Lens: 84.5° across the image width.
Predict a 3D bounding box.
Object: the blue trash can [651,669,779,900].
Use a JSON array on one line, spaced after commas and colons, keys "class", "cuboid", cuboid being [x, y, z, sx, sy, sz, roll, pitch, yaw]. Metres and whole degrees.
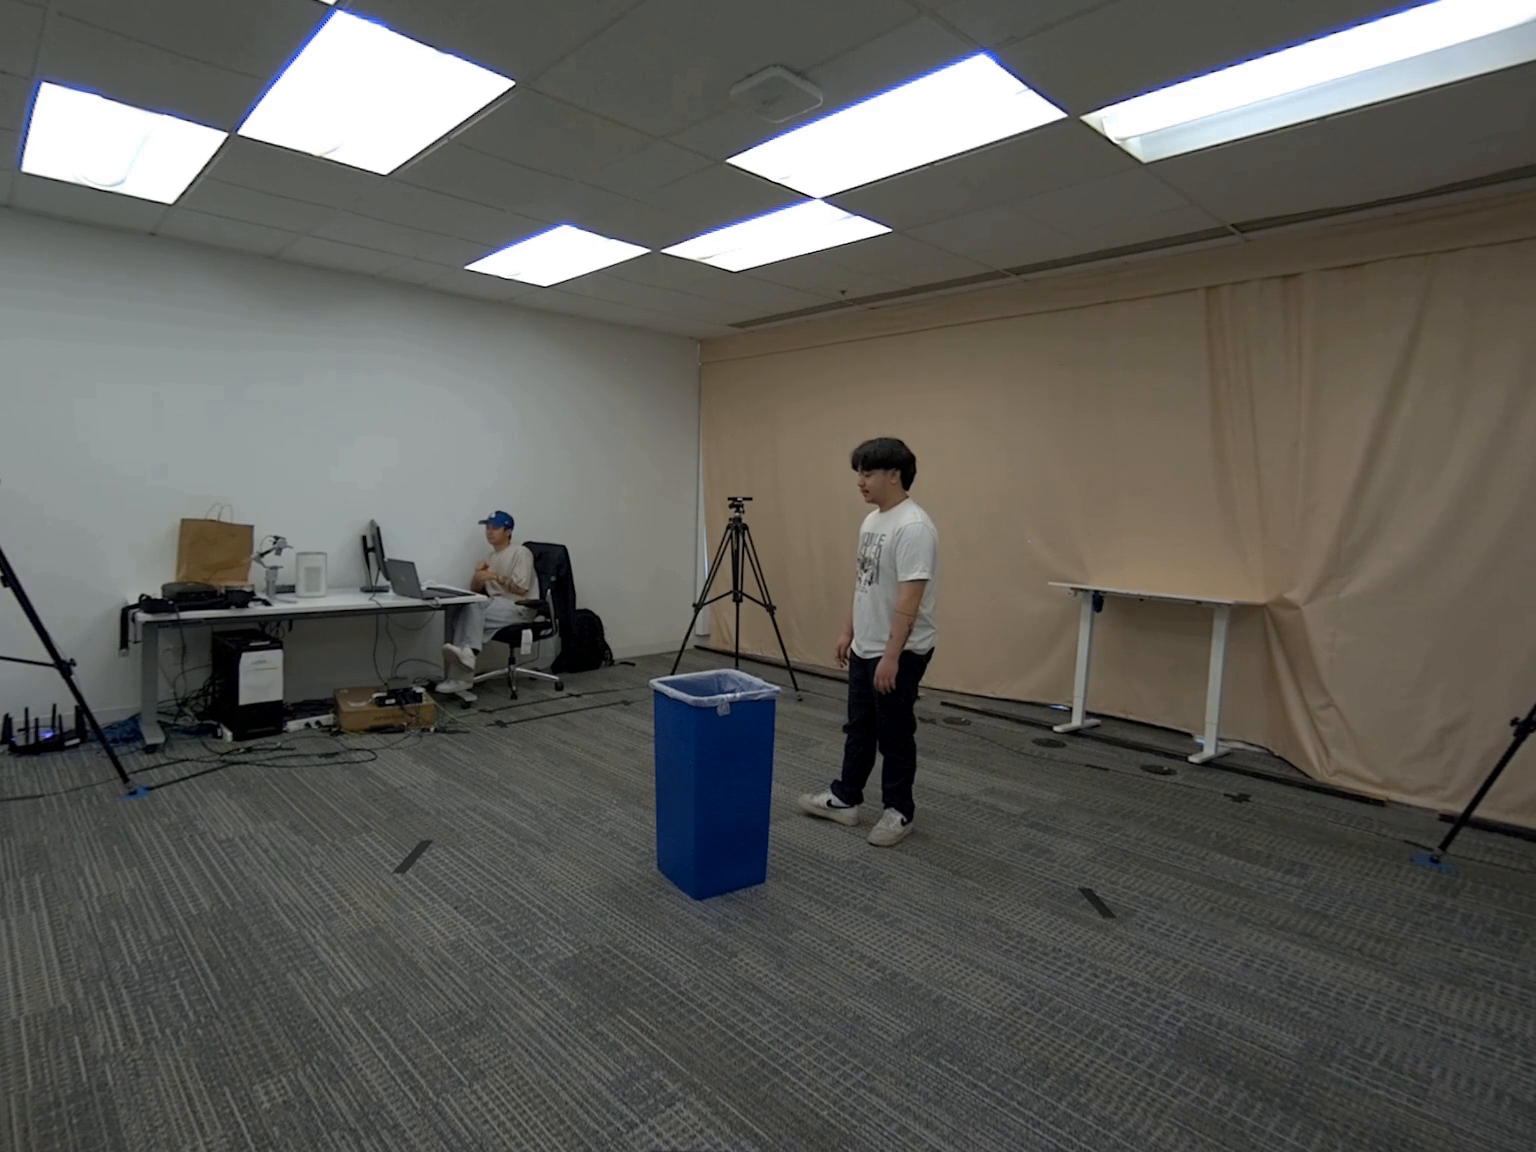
[{"class": "blue trash can", "cuboid": [-0.216, 0.749, 3.095, 0.370, 0.712, 0.383, -1, 4, -34]}]
